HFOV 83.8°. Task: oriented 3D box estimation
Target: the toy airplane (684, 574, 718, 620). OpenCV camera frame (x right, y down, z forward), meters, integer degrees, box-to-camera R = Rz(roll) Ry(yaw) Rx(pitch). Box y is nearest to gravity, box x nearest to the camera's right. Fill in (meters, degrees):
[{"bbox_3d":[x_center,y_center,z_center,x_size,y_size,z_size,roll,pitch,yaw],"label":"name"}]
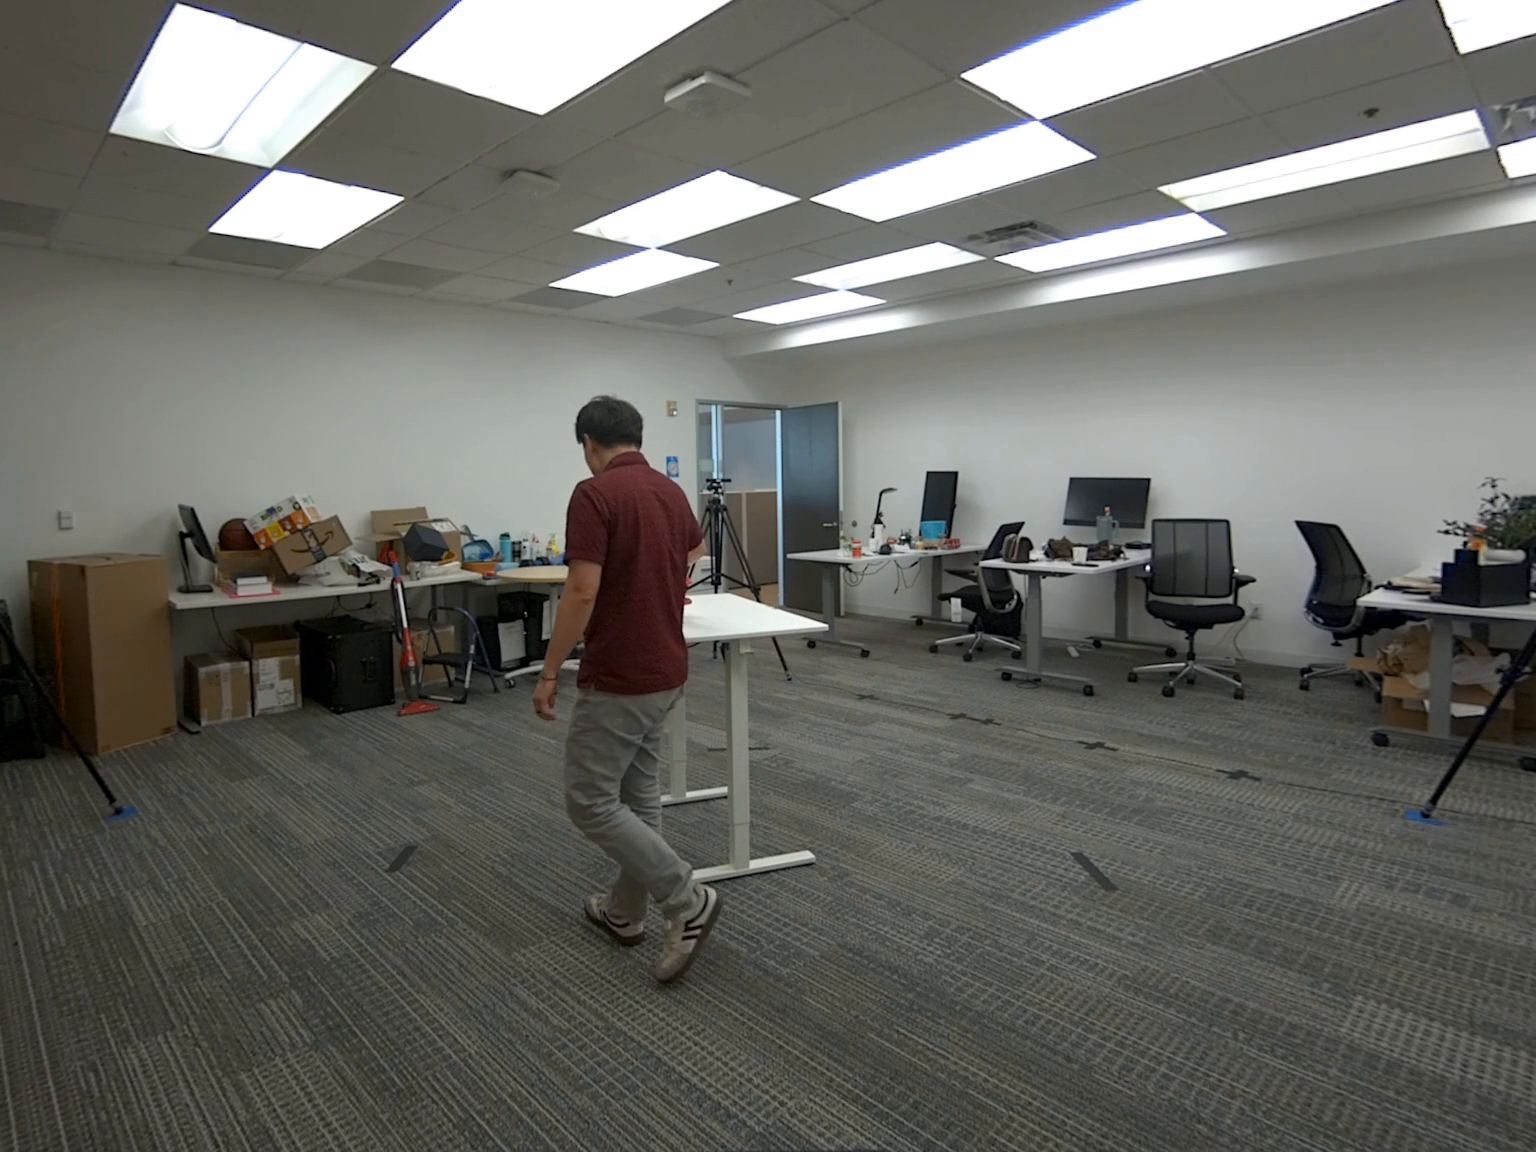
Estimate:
[{"bbox_3d":[-0.369,0.080,3.119,0.244,0.157,0.266,-1,-3,-43],"label":"toy airplane"}]
